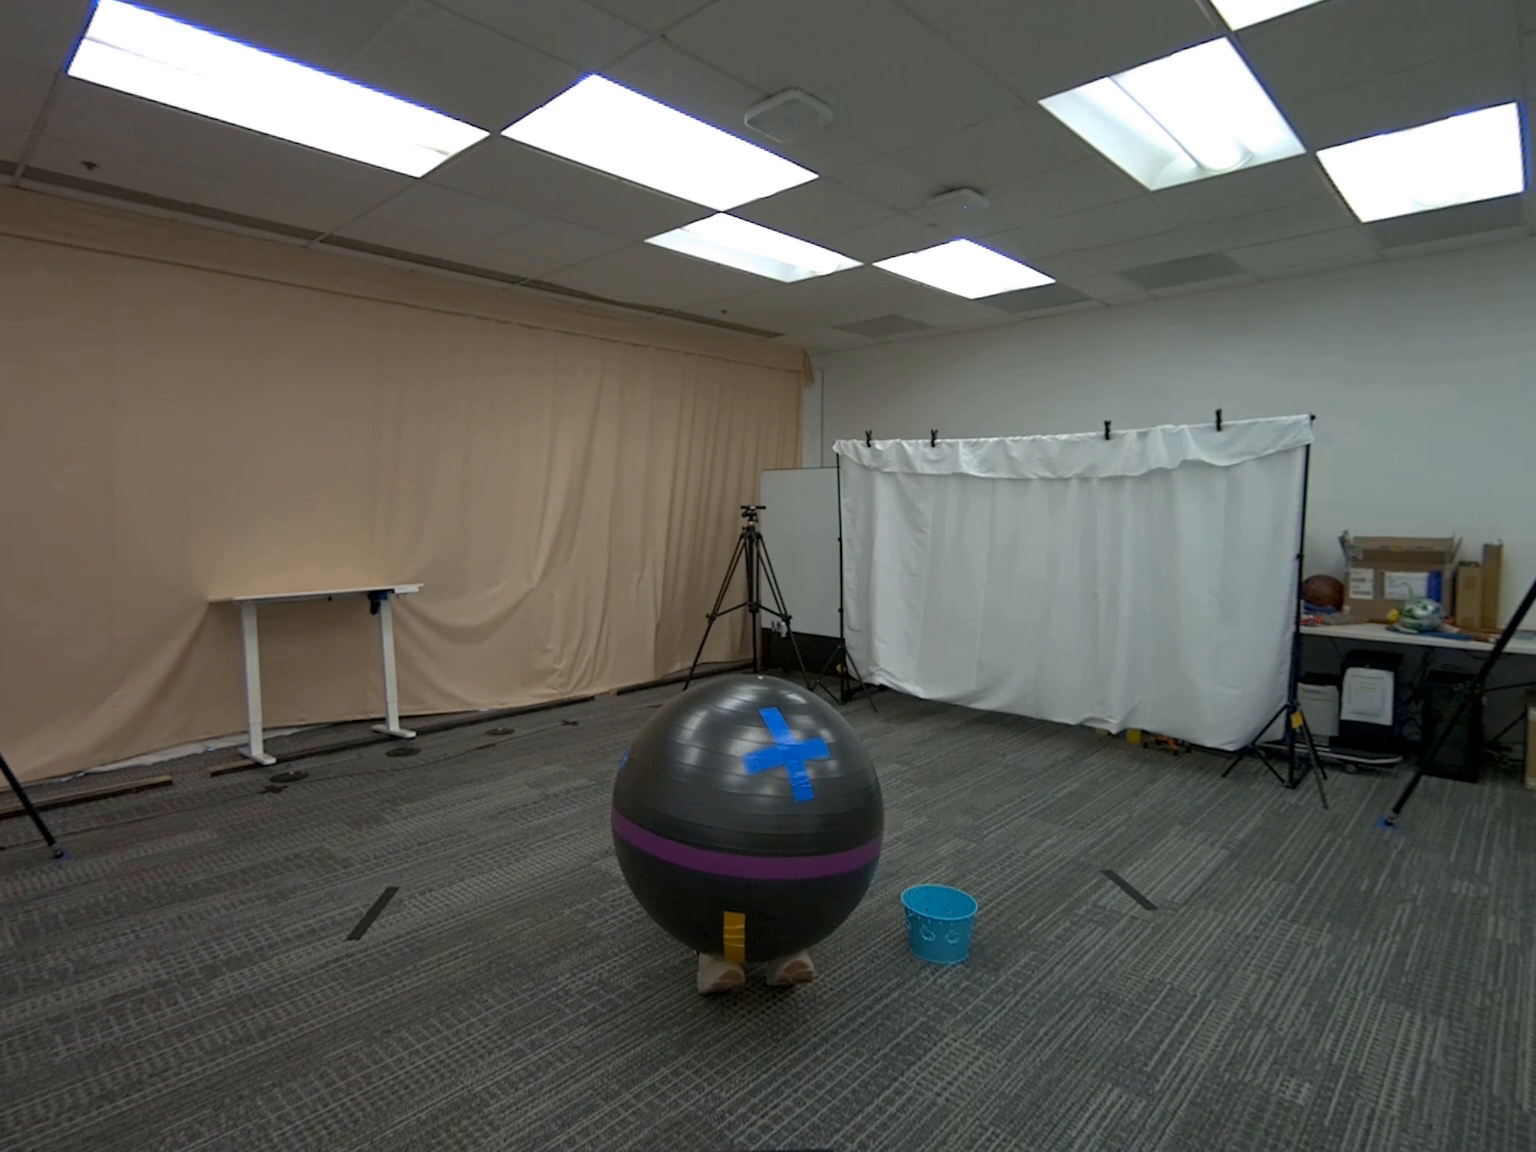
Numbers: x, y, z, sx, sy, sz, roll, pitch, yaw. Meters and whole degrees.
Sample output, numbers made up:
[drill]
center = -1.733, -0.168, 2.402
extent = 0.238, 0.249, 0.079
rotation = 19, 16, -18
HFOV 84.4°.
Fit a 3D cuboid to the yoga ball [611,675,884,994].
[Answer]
[yoga ball]
center = -0.052, 0.663, 2.356
extent = 0.757, 0.756, 0.761
rotation = 0, 4, -2
